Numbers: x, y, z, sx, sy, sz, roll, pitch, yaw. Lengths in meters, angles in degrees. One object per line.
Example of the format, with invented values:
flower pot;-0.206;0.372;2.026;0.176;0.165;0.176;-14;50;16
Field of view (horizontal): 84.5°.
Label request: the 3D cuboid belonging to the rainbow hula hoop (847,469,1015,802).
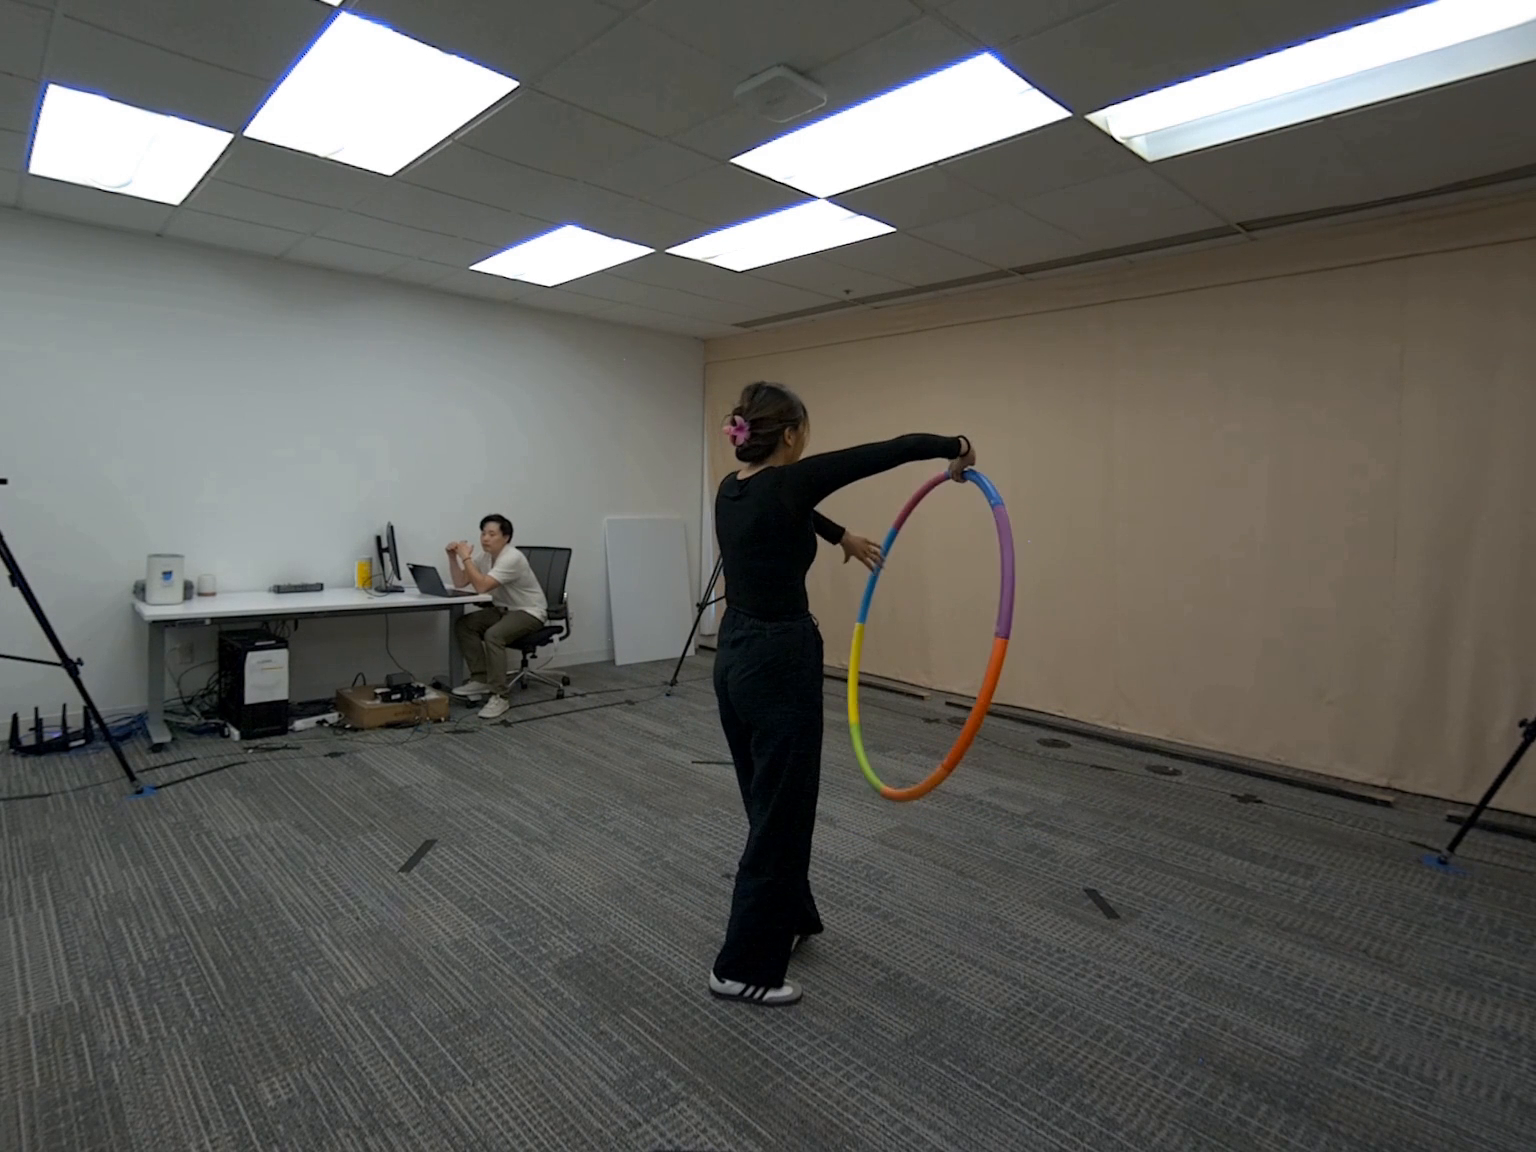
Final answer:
rainbow hula hoop;0.440;0.156;2.482;0.051;0.984;0.995;14;2;-11
